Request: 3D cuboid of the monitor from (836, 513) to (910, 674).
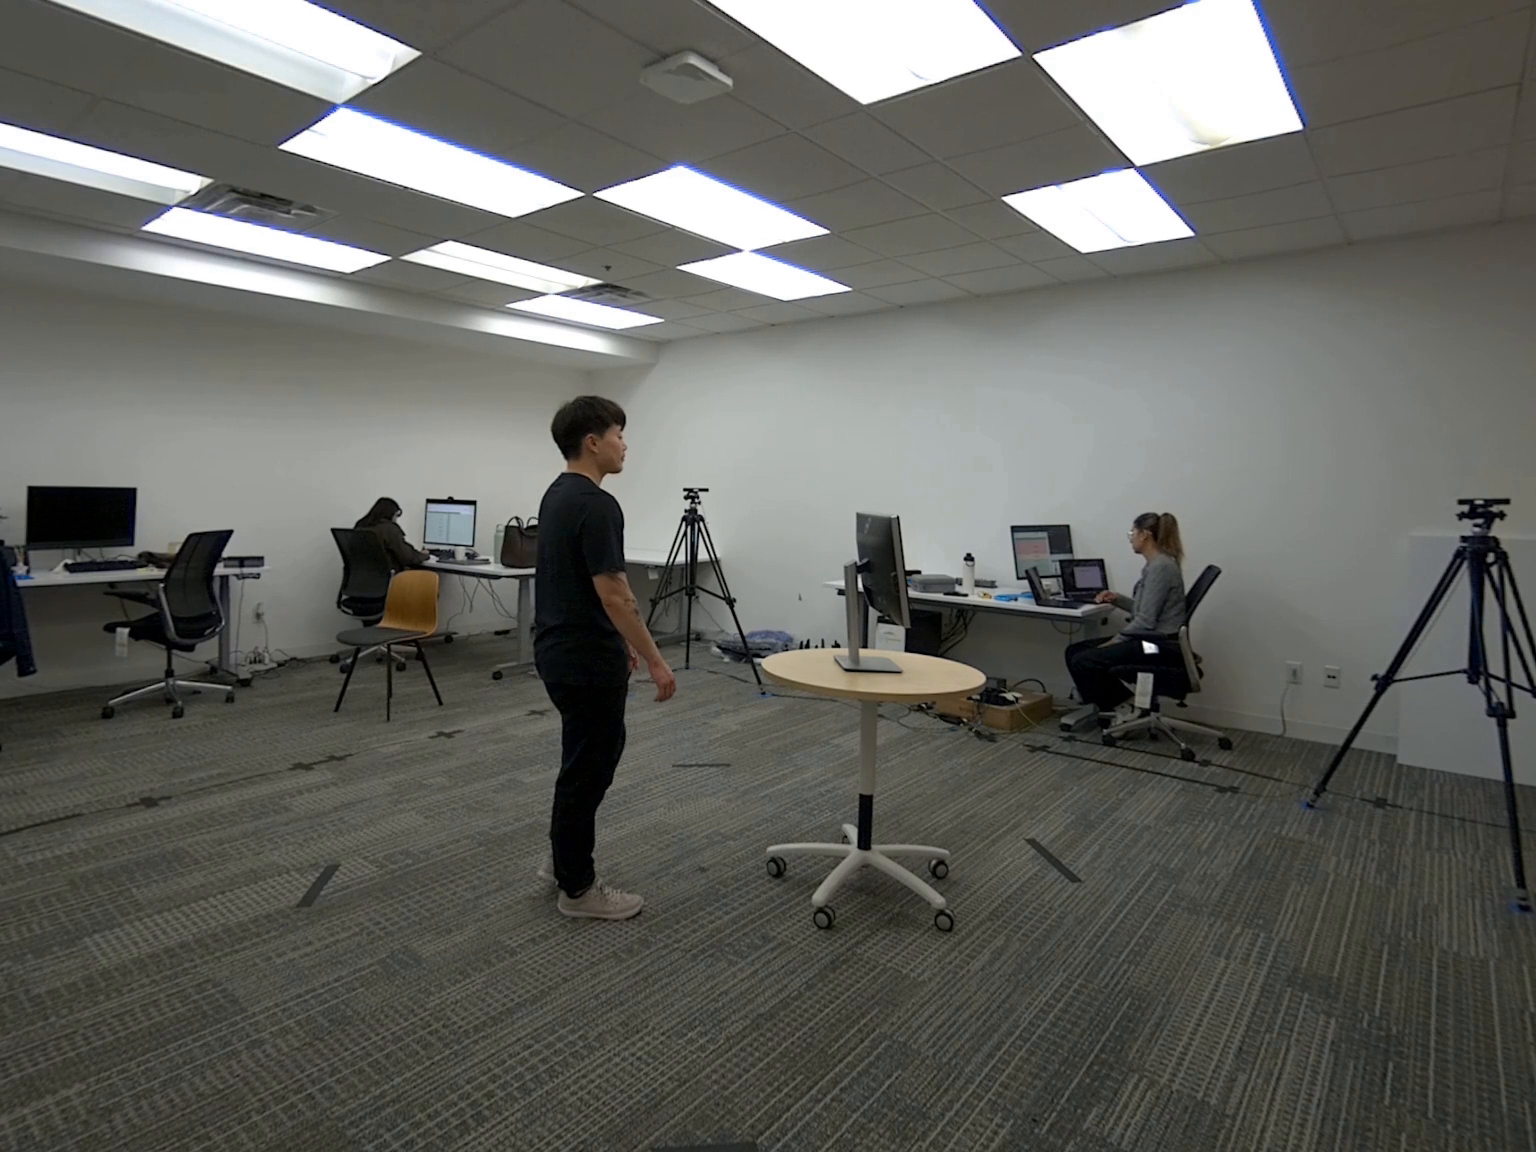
[{"bbox_3d":[0.350,0.054,2.988,0.186,0.521,0.544,3,4,-7],"label":"monitor"}]
